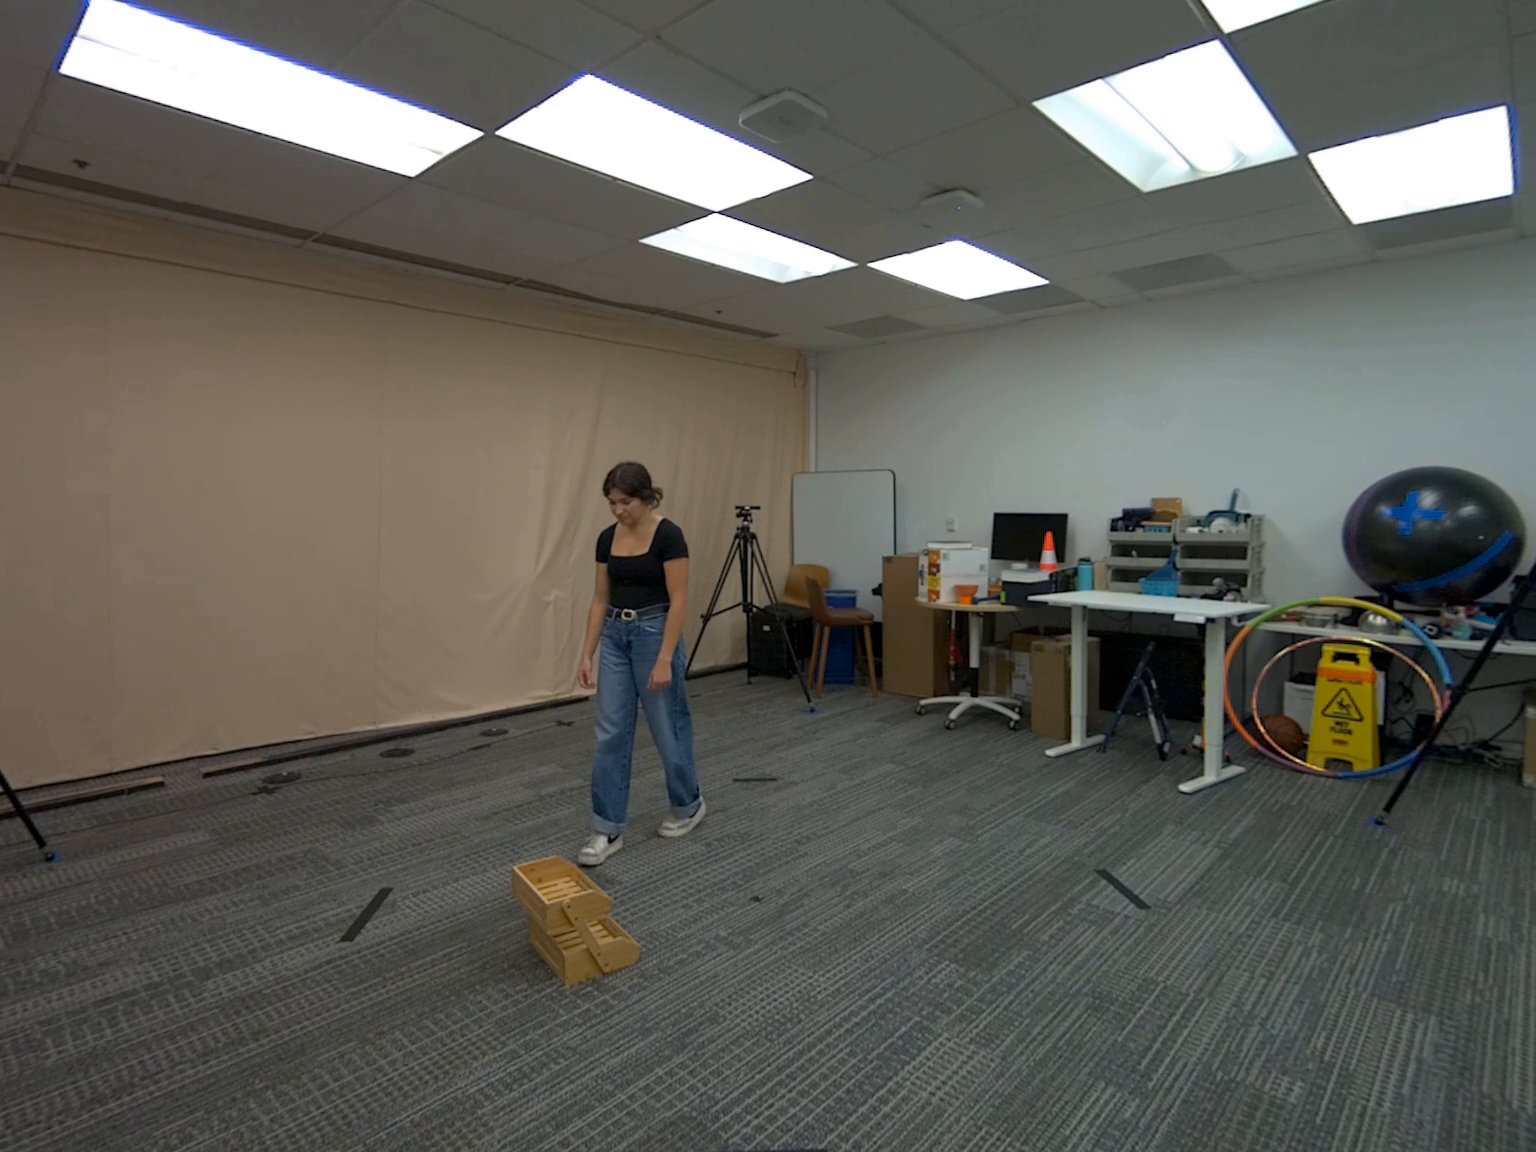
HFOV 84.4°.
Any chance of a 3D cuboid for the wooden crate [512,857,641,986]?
[{"bbox_3d":[-0.596,1.039,2.618,0.293,0.272,0.334,-4,5,-34],"label":"wooden crate"}]
